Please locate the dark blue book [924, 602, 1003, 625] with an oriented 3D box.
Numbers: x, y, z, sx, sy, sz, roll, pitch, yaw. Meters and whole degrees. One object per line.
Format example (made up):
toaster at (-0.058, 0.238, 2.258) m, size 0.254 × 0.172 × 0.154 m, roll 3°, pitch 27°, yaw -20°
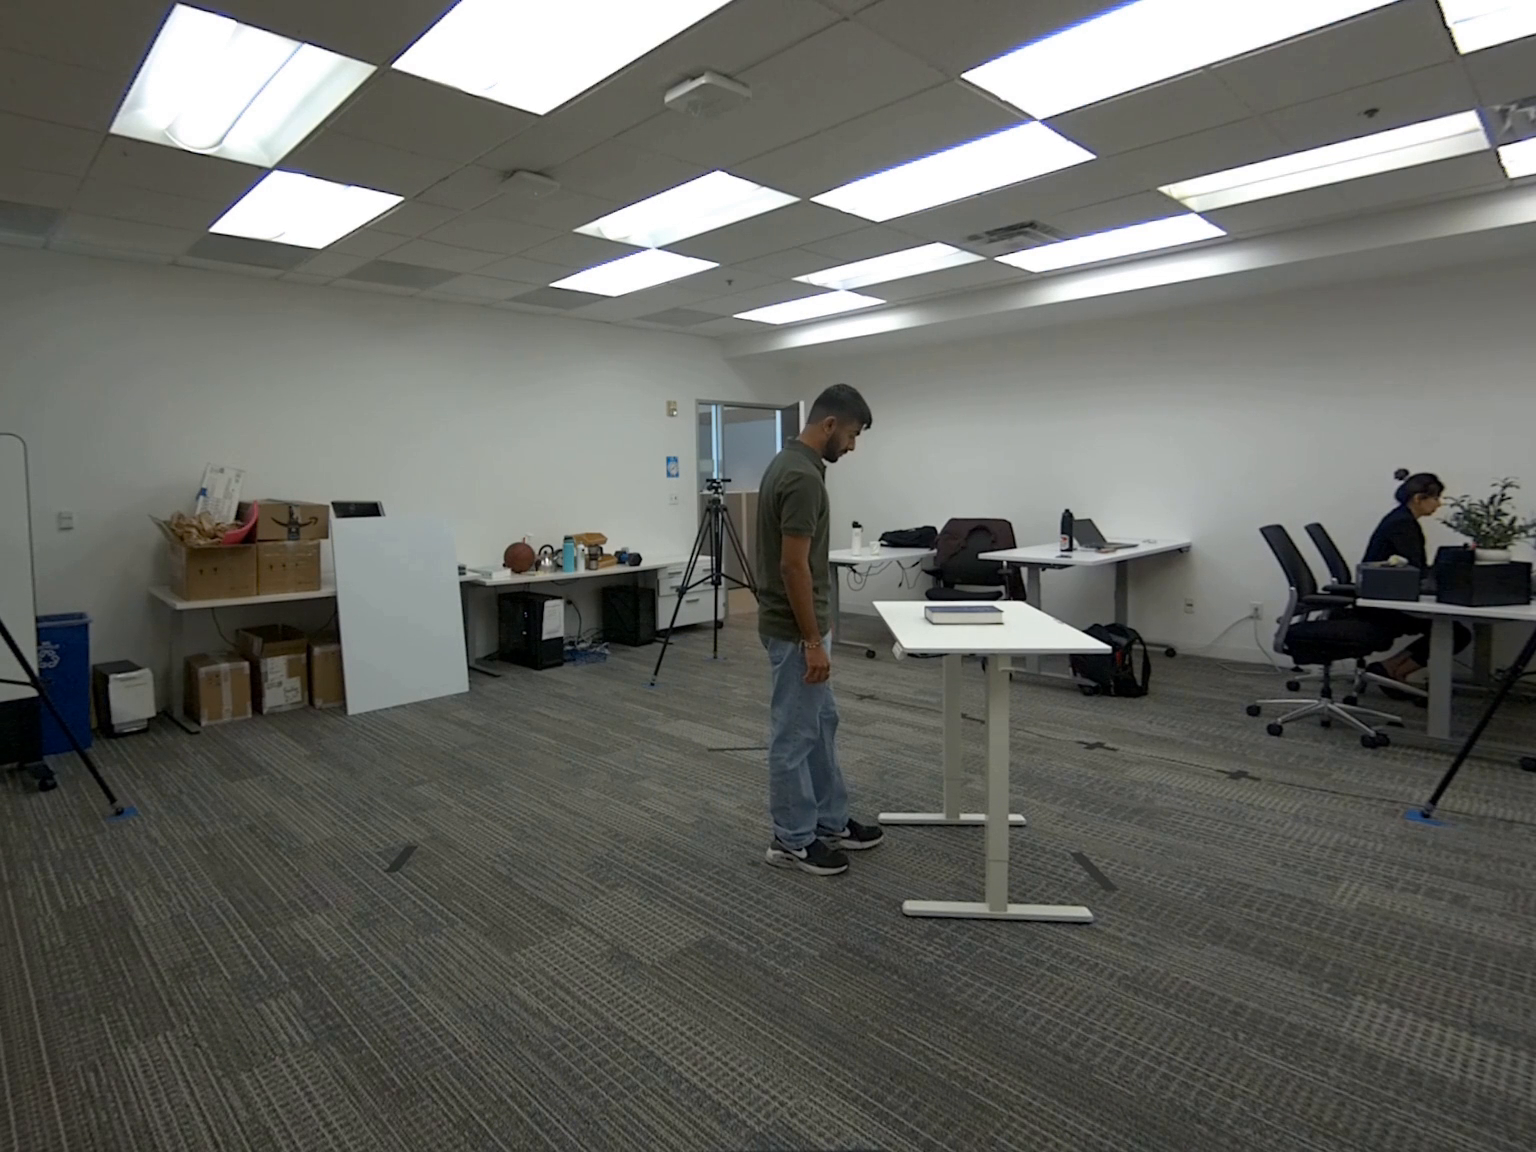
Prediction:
dark blue book at (0.688, 0.135, 3.025) m, size 0.246 × 0.045 × 0.164 m, roll 0°, pitch 6°, yaw 2°
